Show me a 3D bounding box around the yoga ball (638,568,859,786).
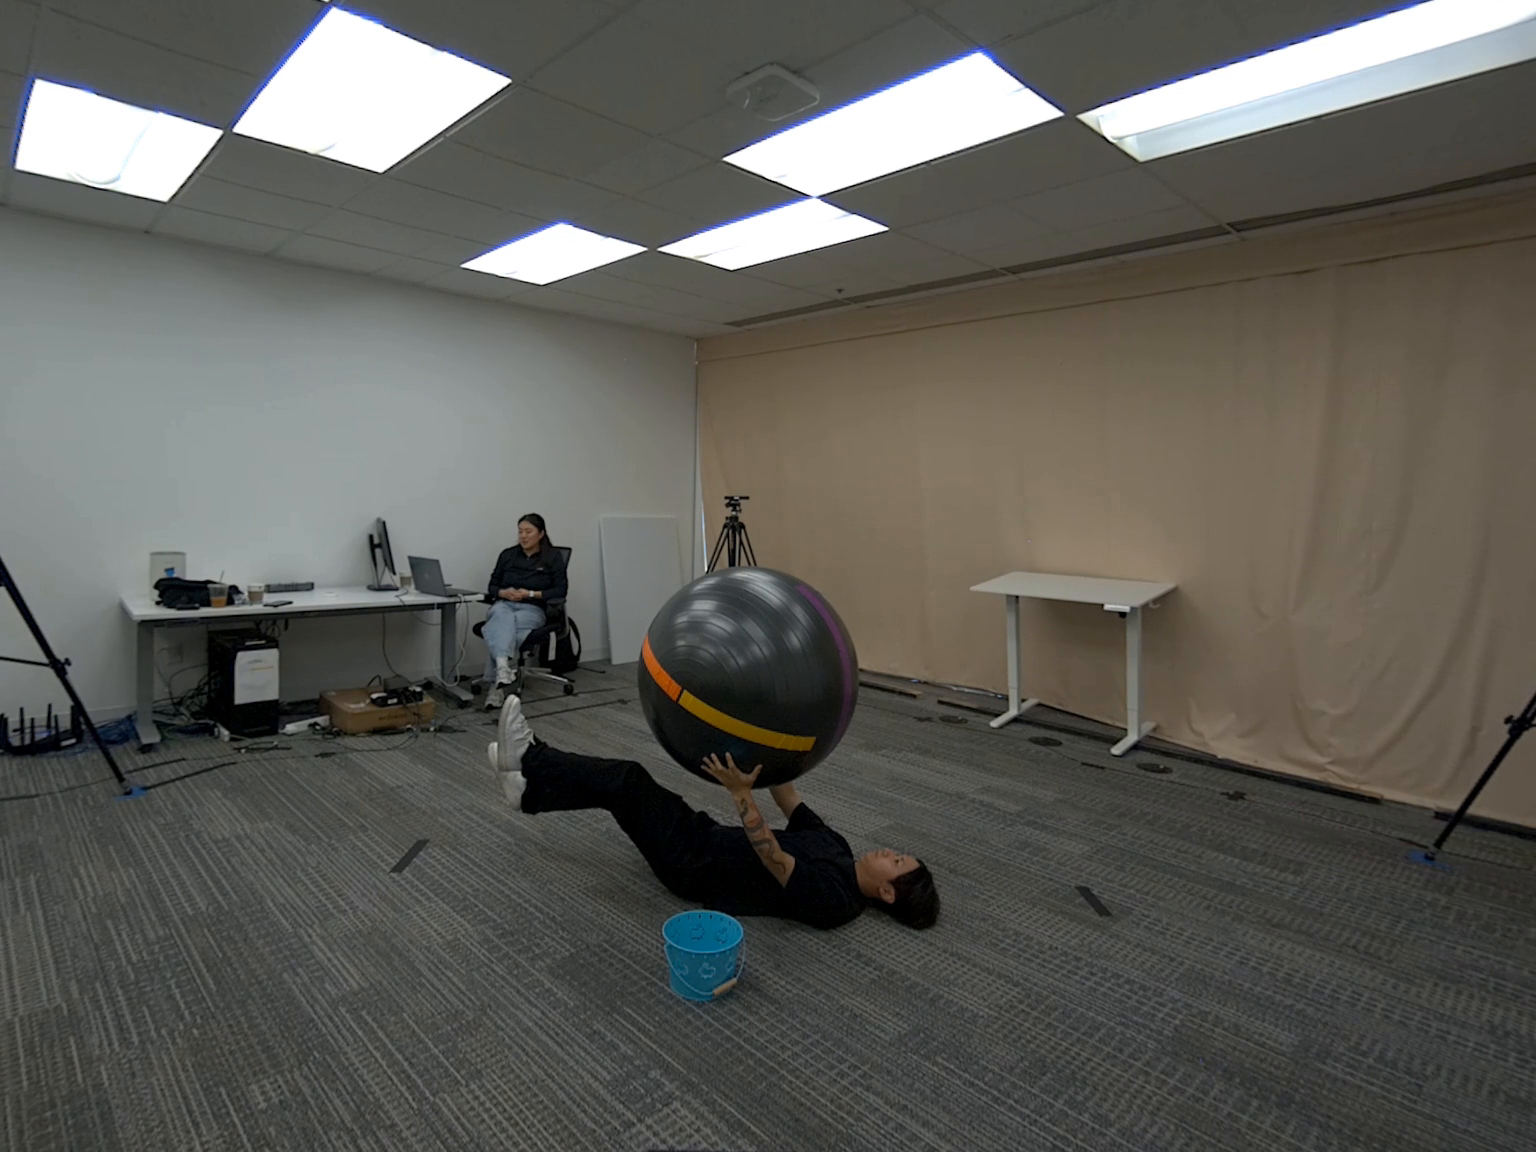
[{"bbox_3d":[-0.067,0.353,2.917,0.757,0.756,0.761,1,4,-1],"label":"yoga ball"}]
